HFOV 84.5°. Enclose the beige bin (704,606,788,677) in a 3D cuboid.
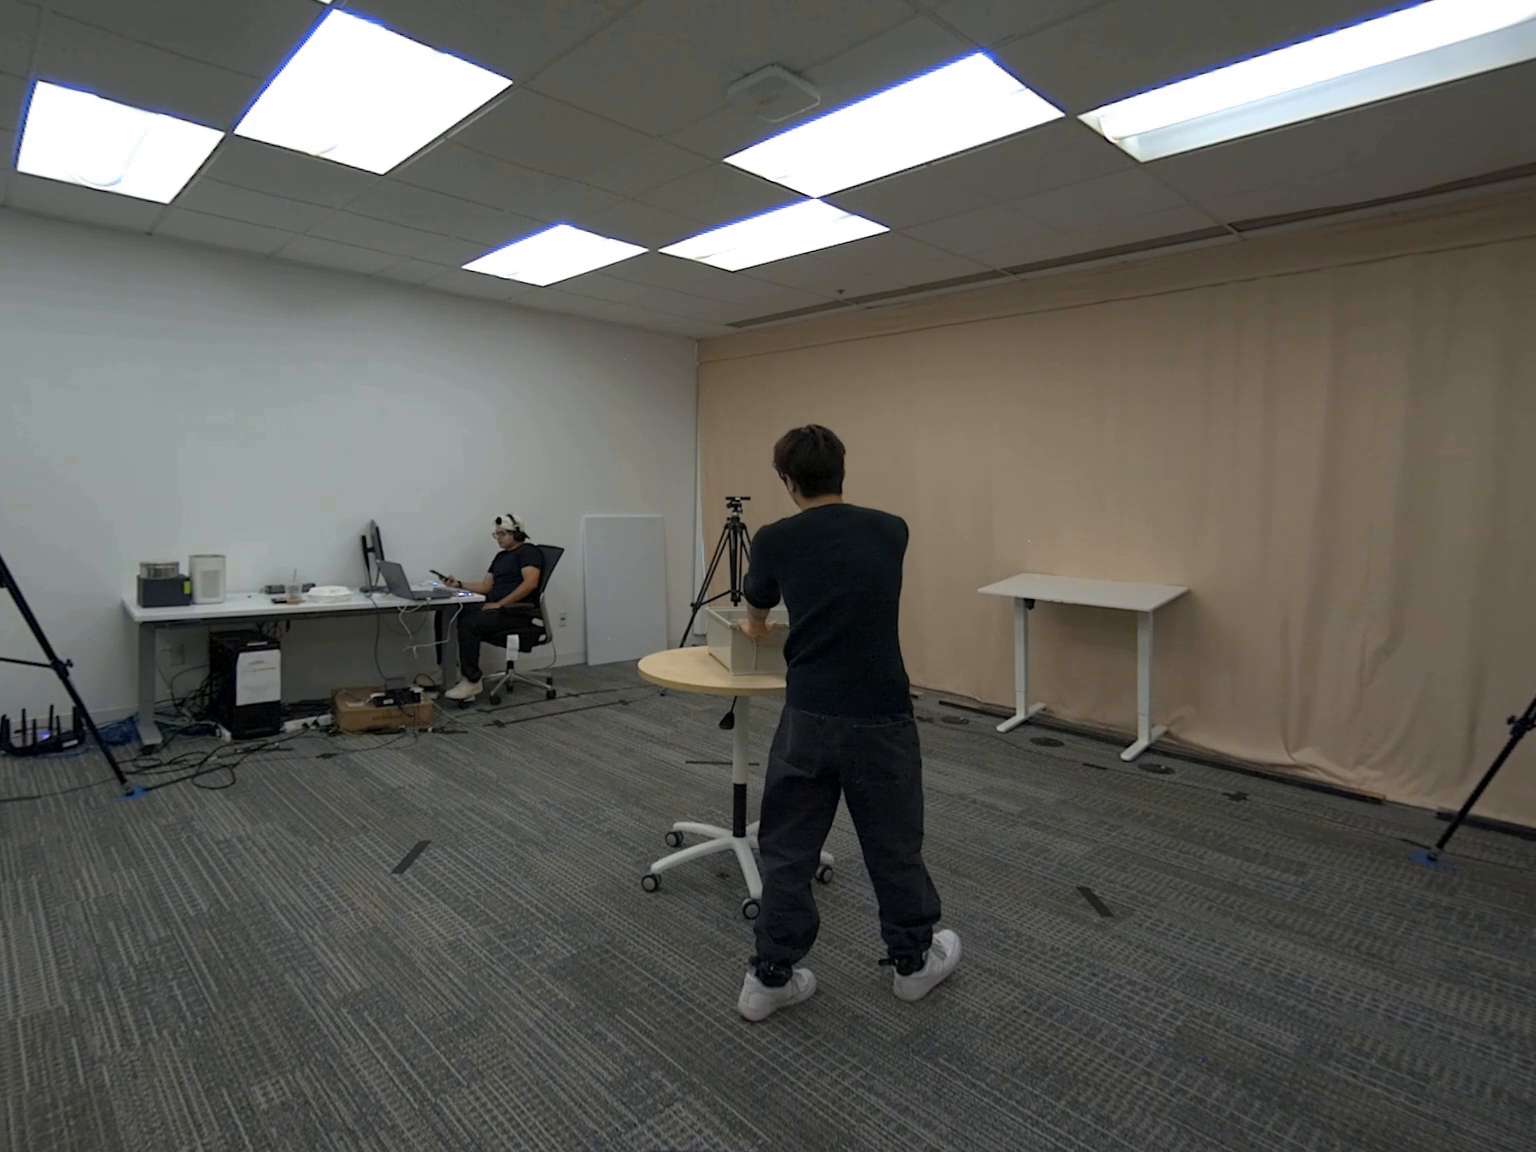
[{"bbox_3d":[-0.019,0.231,3.128,0.373,0.188,0.429,-2,7,-15],"label":"beige bin"}]
